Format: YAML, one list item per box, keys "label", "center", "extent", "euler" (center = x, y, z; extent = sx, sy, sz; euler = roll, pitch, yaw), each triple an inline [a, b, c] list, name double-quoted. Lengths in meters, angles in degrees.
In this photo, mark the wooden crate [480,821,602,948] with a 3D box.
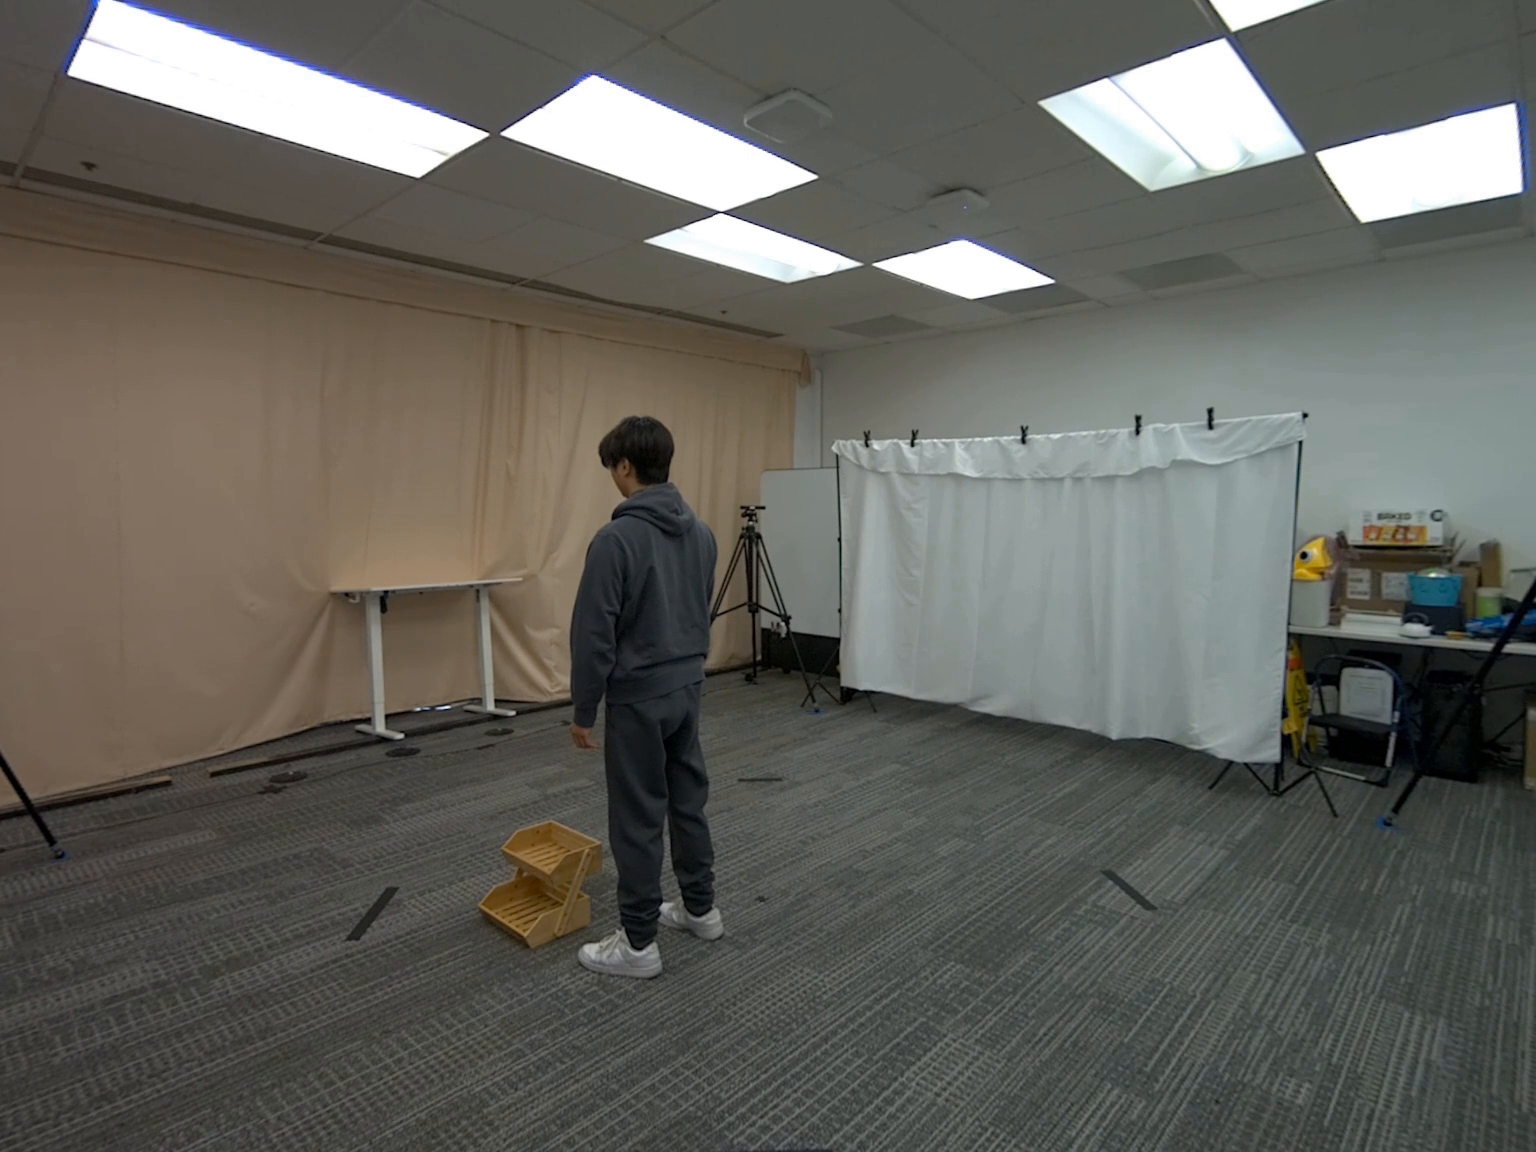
- label: "wooden crate"
  center: [-0.769, 1.027, 2.859]
  extent: [0.335, 0.273, 0.292]
  euler: [3, 4, 43]
